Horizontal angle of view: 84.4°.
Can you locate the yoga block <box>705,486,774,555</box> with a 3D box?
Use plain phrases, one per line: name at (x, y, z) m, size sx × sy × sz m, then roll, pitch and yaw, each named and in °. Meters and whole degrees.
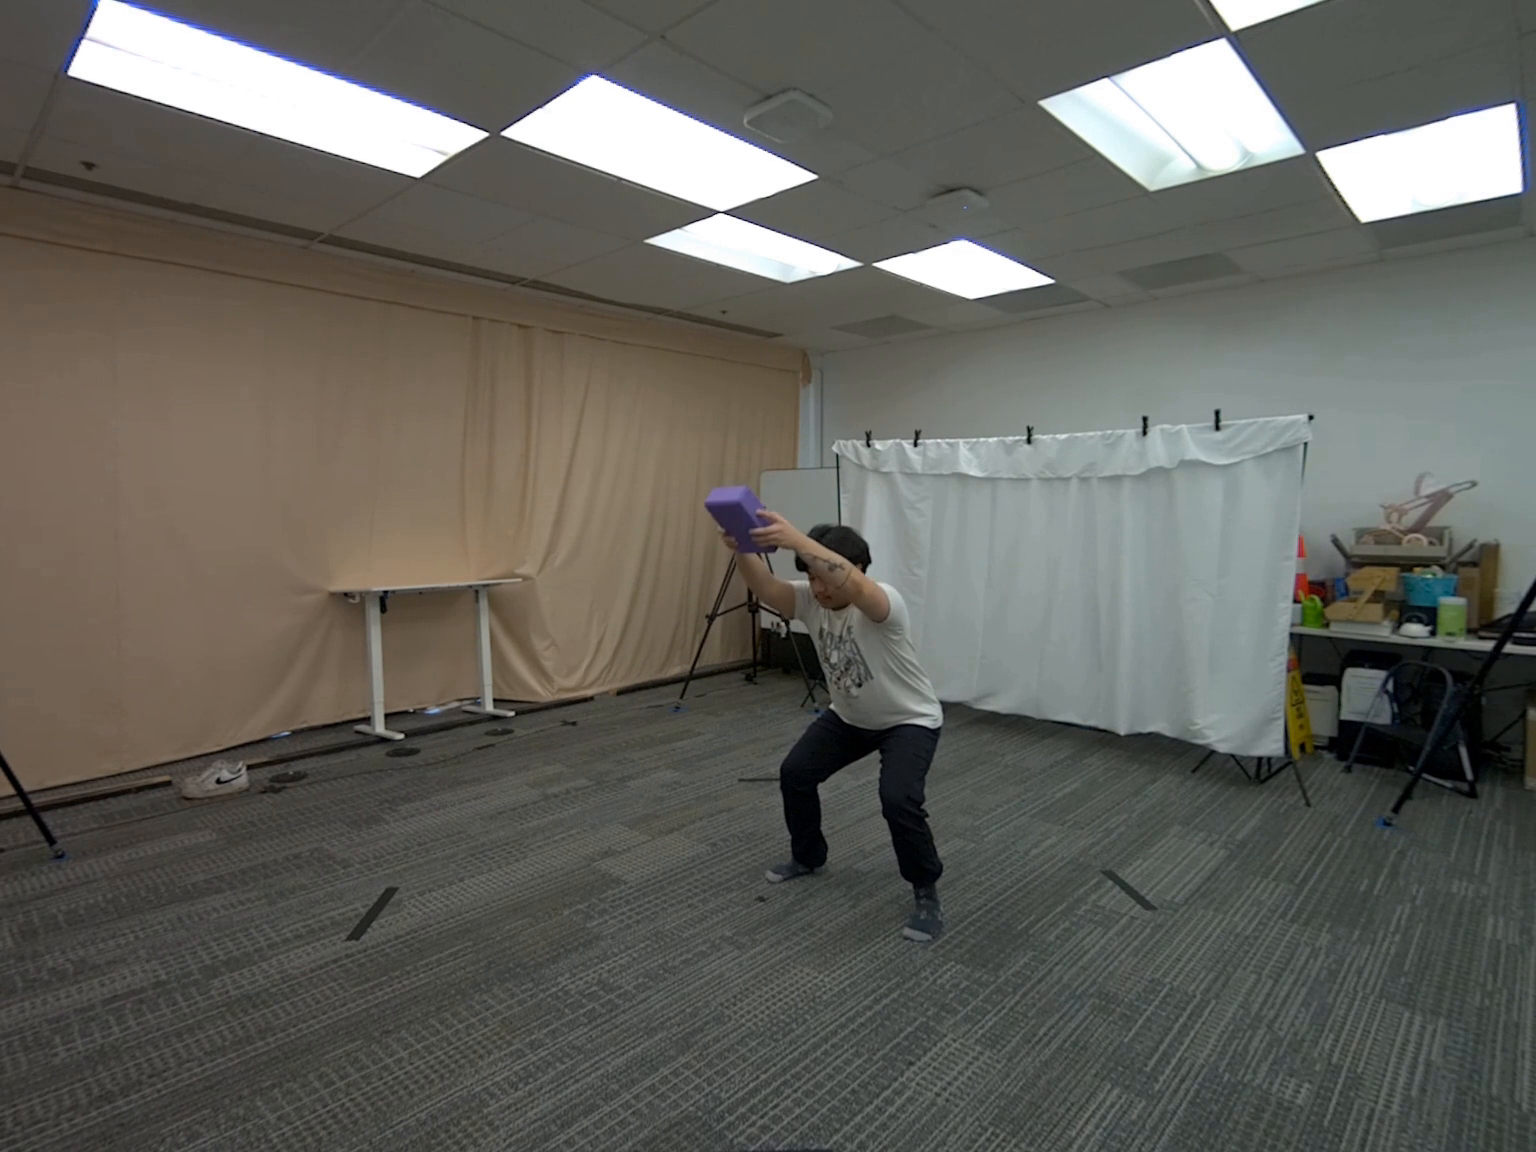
yoga block at (-0.066, -0.164, 2.534) m, size 0.154 × 0.076 × 0.222 m, roll 0°, pitch -41°, yaw 42°
